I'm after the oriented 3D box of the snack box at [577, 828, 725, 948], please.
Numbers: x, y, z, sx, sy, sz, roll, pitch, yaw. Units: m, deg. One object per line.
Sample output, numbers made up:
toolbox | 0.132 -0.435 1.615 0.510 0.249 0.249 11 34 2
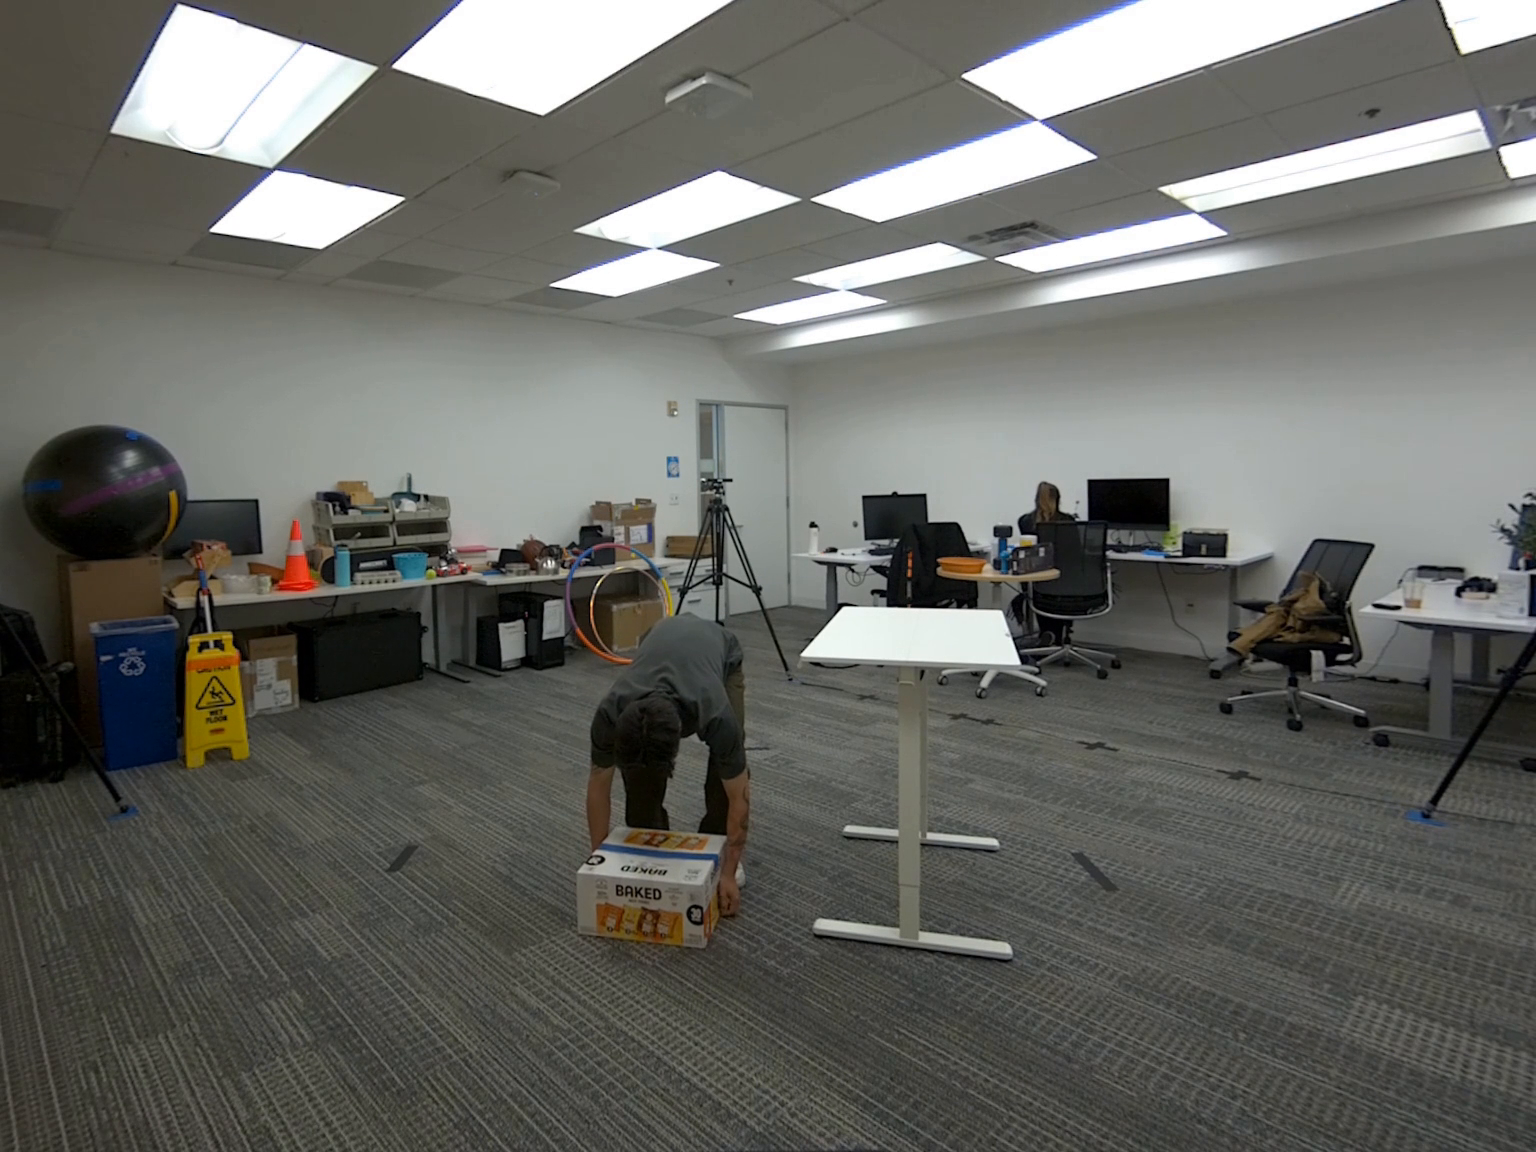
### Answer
snack box | -0.359 0.993 2.744 0.410 0.205 0.338 0 7 13
